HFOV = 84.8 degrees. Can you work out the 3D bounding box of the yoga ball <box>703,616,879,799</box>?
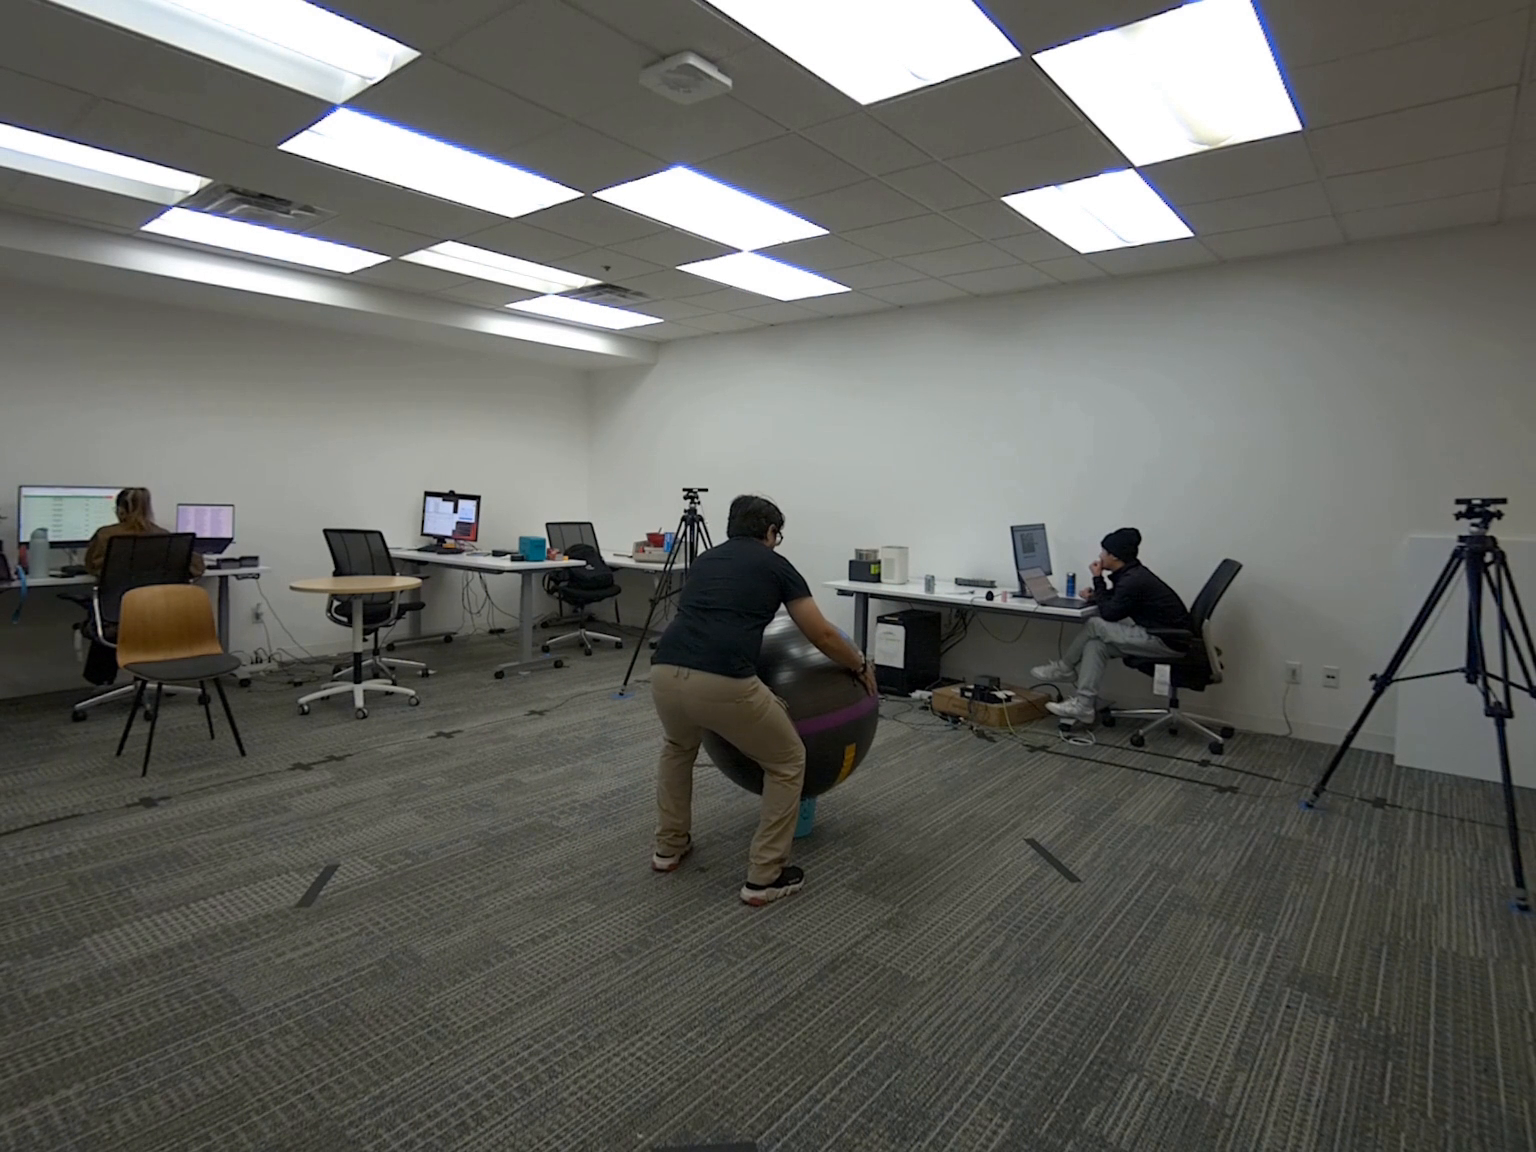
[{"bbox_3d":[0.074,0.528,3.500,0.757,0.755,0.762,1,4,-2],"label":"yoga ball"}]
